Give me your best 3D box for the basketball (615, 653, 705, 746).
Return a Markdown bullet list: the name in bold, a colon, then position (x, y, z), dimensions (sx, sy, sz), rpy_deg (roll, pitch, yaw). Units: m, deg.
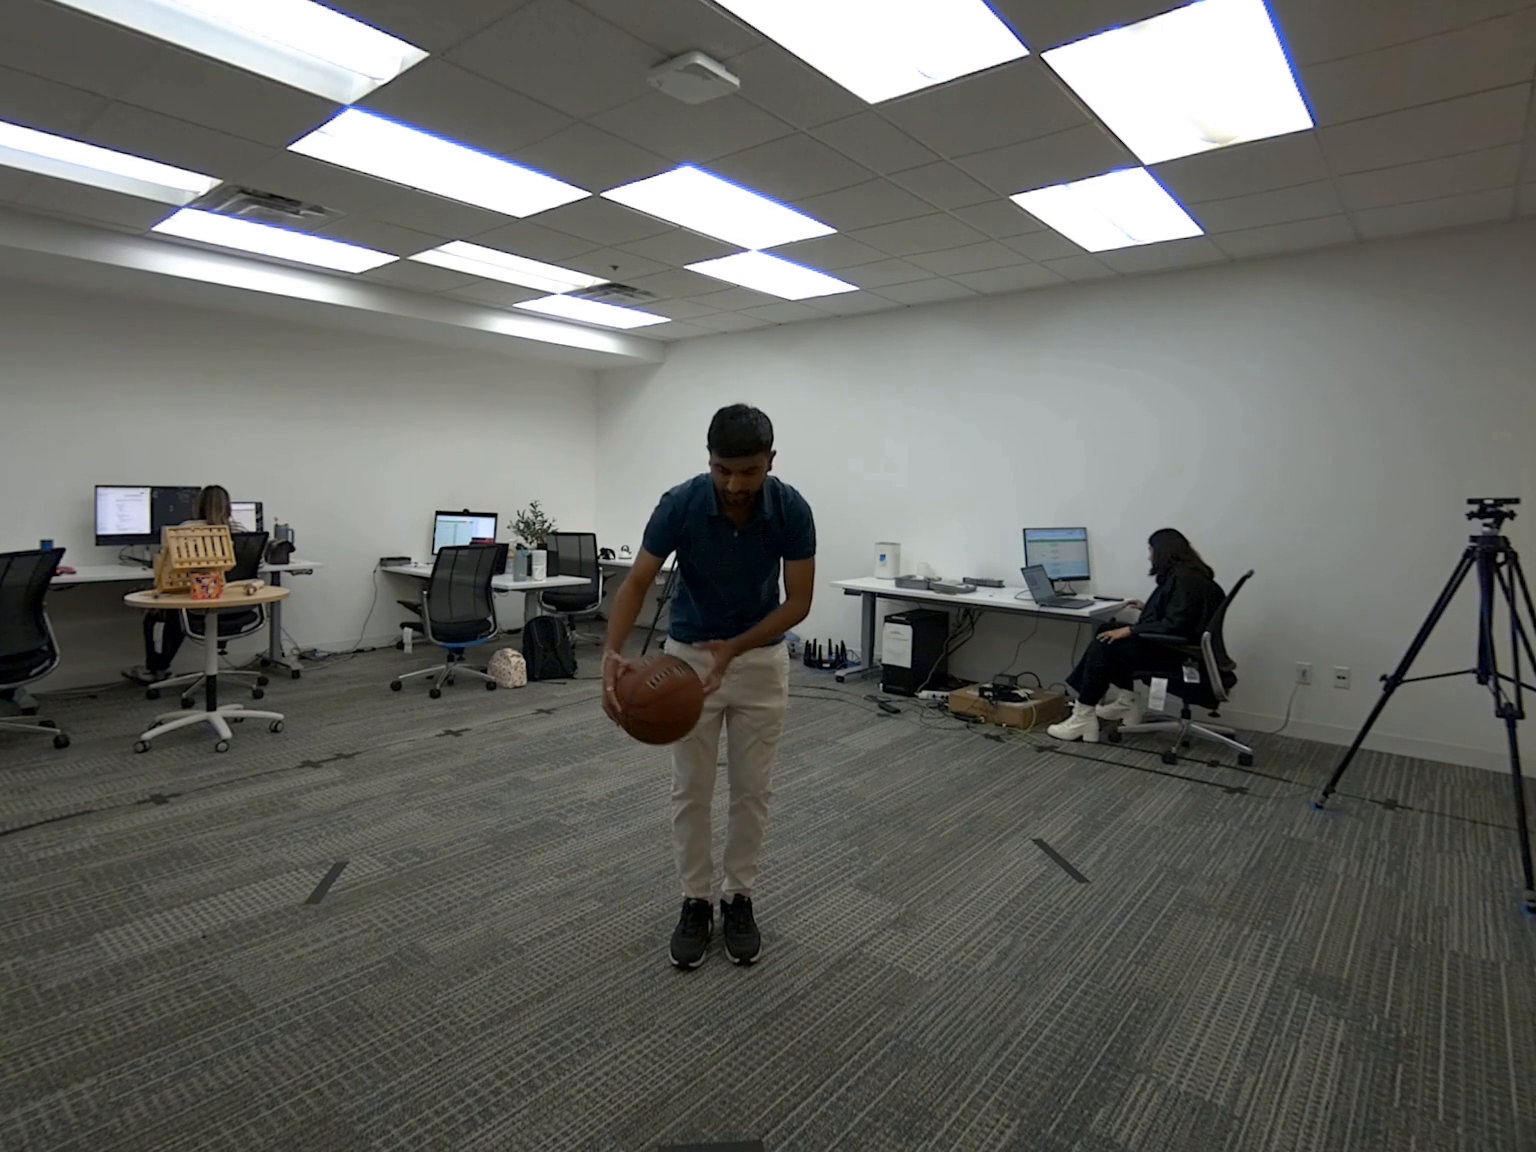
- **basketball**: position (-0.294, 0.326, 2.252), dimensions (0.235, 0.235, 0.237), rpy_deg (1, 4, -2)
